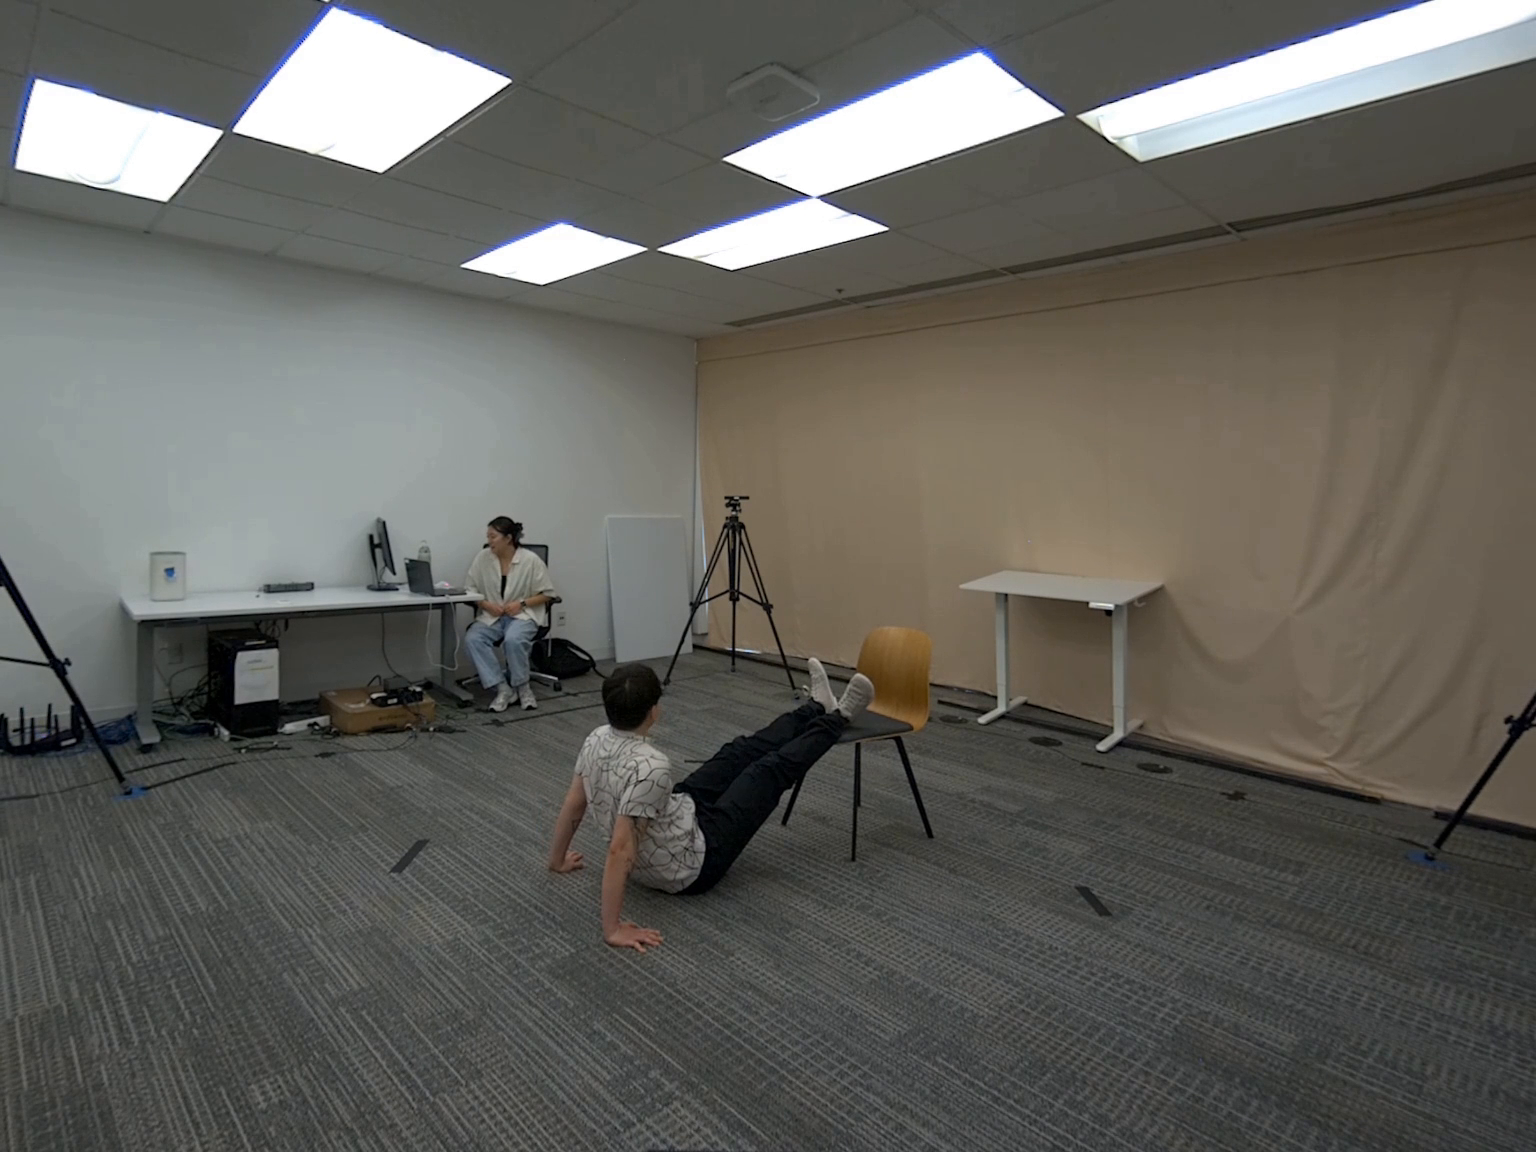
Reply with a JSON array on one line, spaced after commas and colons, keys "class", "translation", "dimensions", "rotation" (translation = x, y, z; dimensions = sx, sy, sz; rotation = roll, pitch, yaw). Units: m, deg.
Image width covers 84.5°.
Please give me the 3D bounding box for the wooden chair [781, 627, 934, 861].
[{"class": "wooden chair", "translation": [0.369, 0.653, 3.520], "dimensions": [0.510, 0.877, 0.490], "rotation": [4, 1, -36]}]
